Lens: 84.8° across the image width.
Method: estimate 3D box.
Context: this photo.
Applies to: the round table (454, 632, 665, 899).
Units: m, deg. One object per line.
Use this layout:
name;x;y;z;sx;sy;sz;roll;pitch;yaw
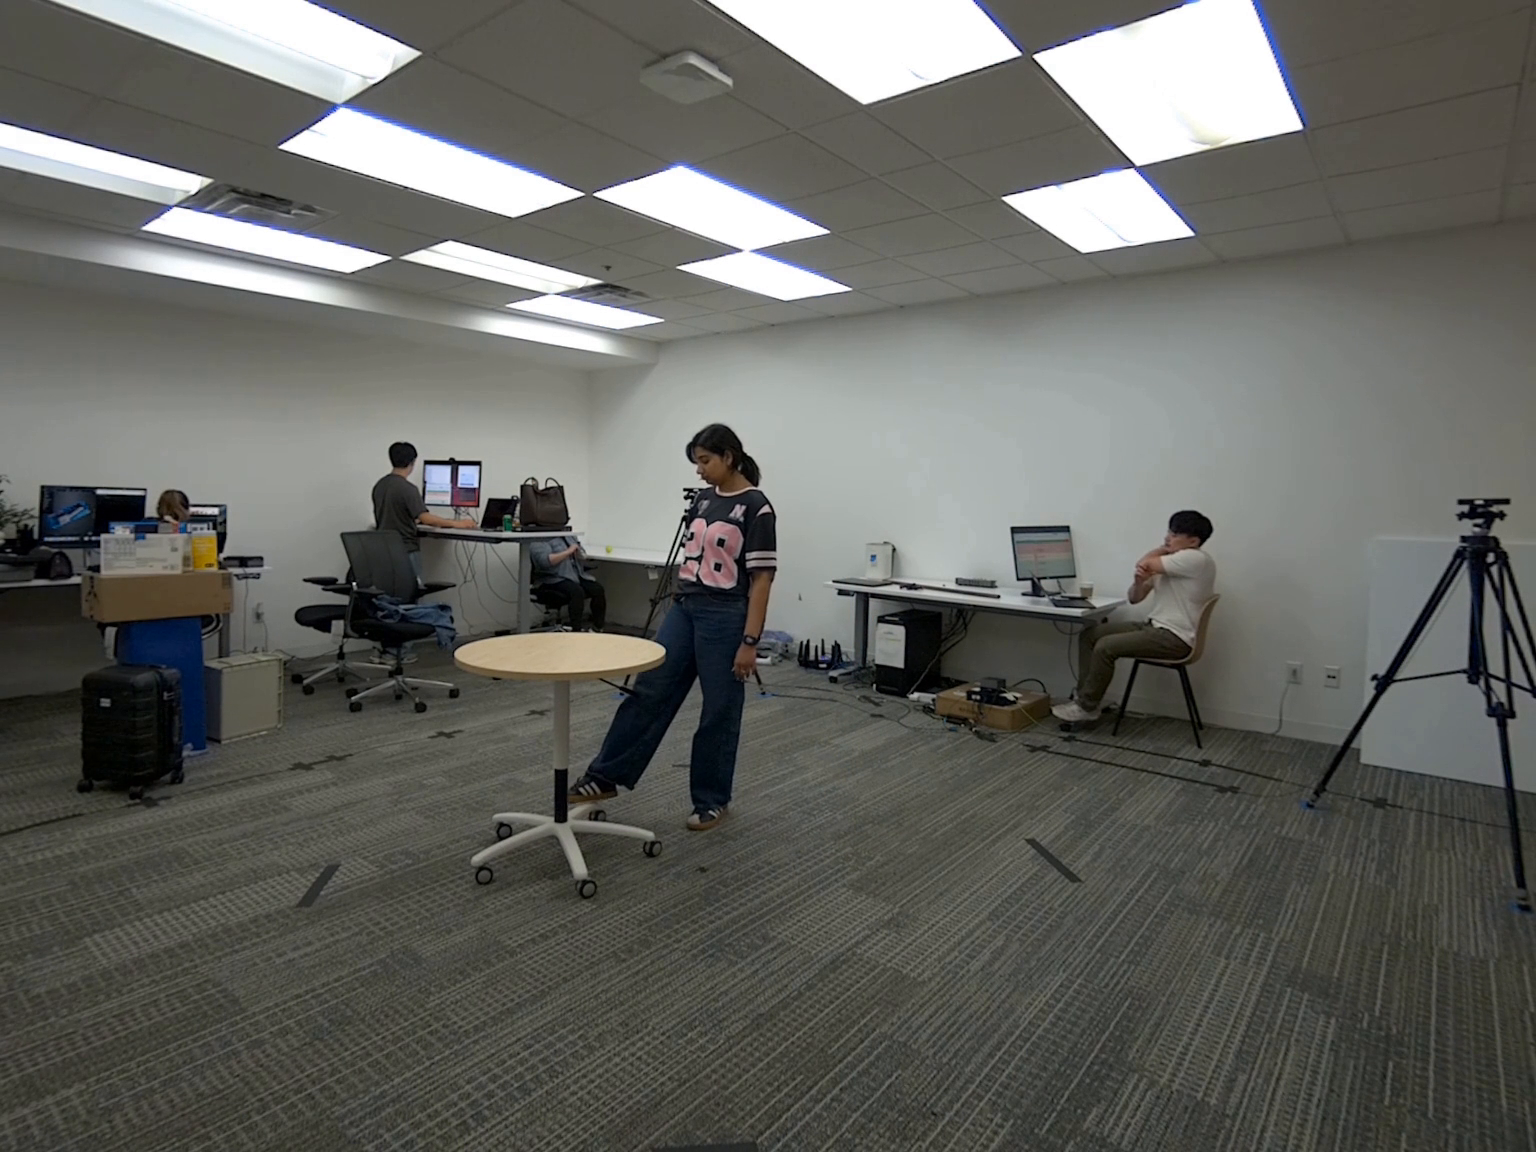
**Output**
round table;-0.780;0.666;3.168;0.763;0.791;0.768;1;4;-2
